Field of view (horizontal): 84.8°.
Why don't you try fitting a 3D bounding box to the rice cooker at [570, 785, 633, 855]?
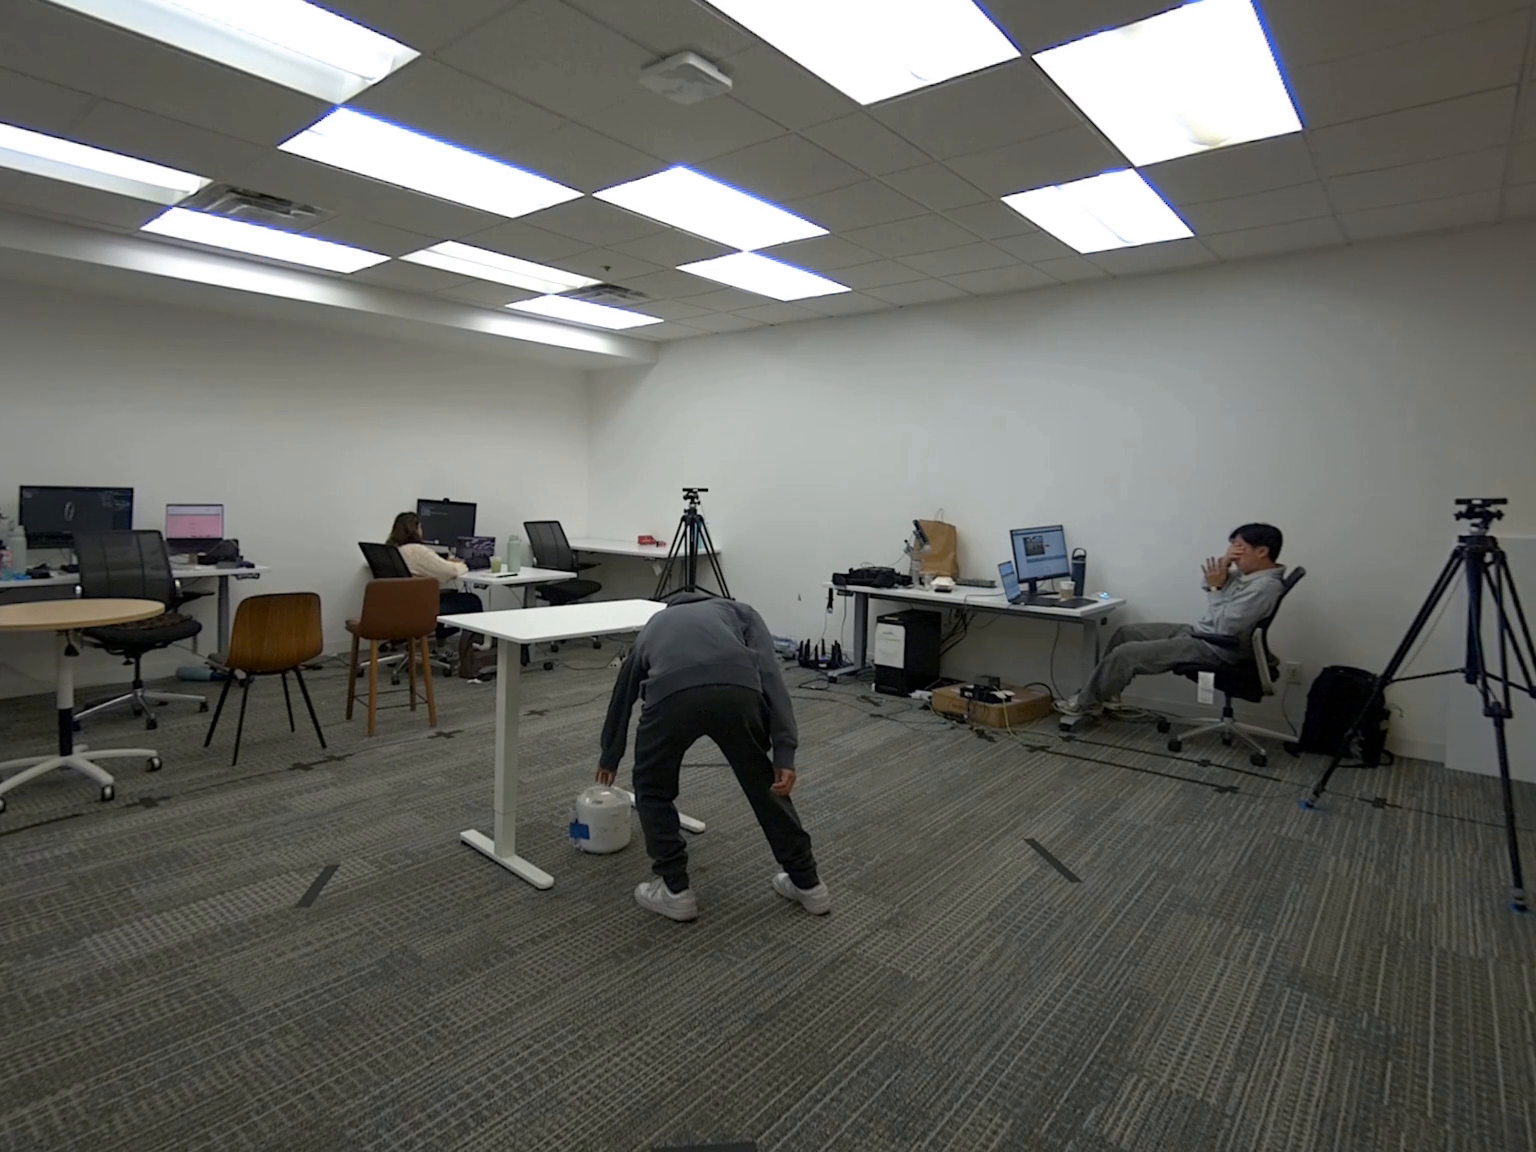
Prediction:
[{"bbox_3d":[-0.646,0.925,3.298,0.226,0.232,0.213,3,5,21],"label":"rice cooker"}]
